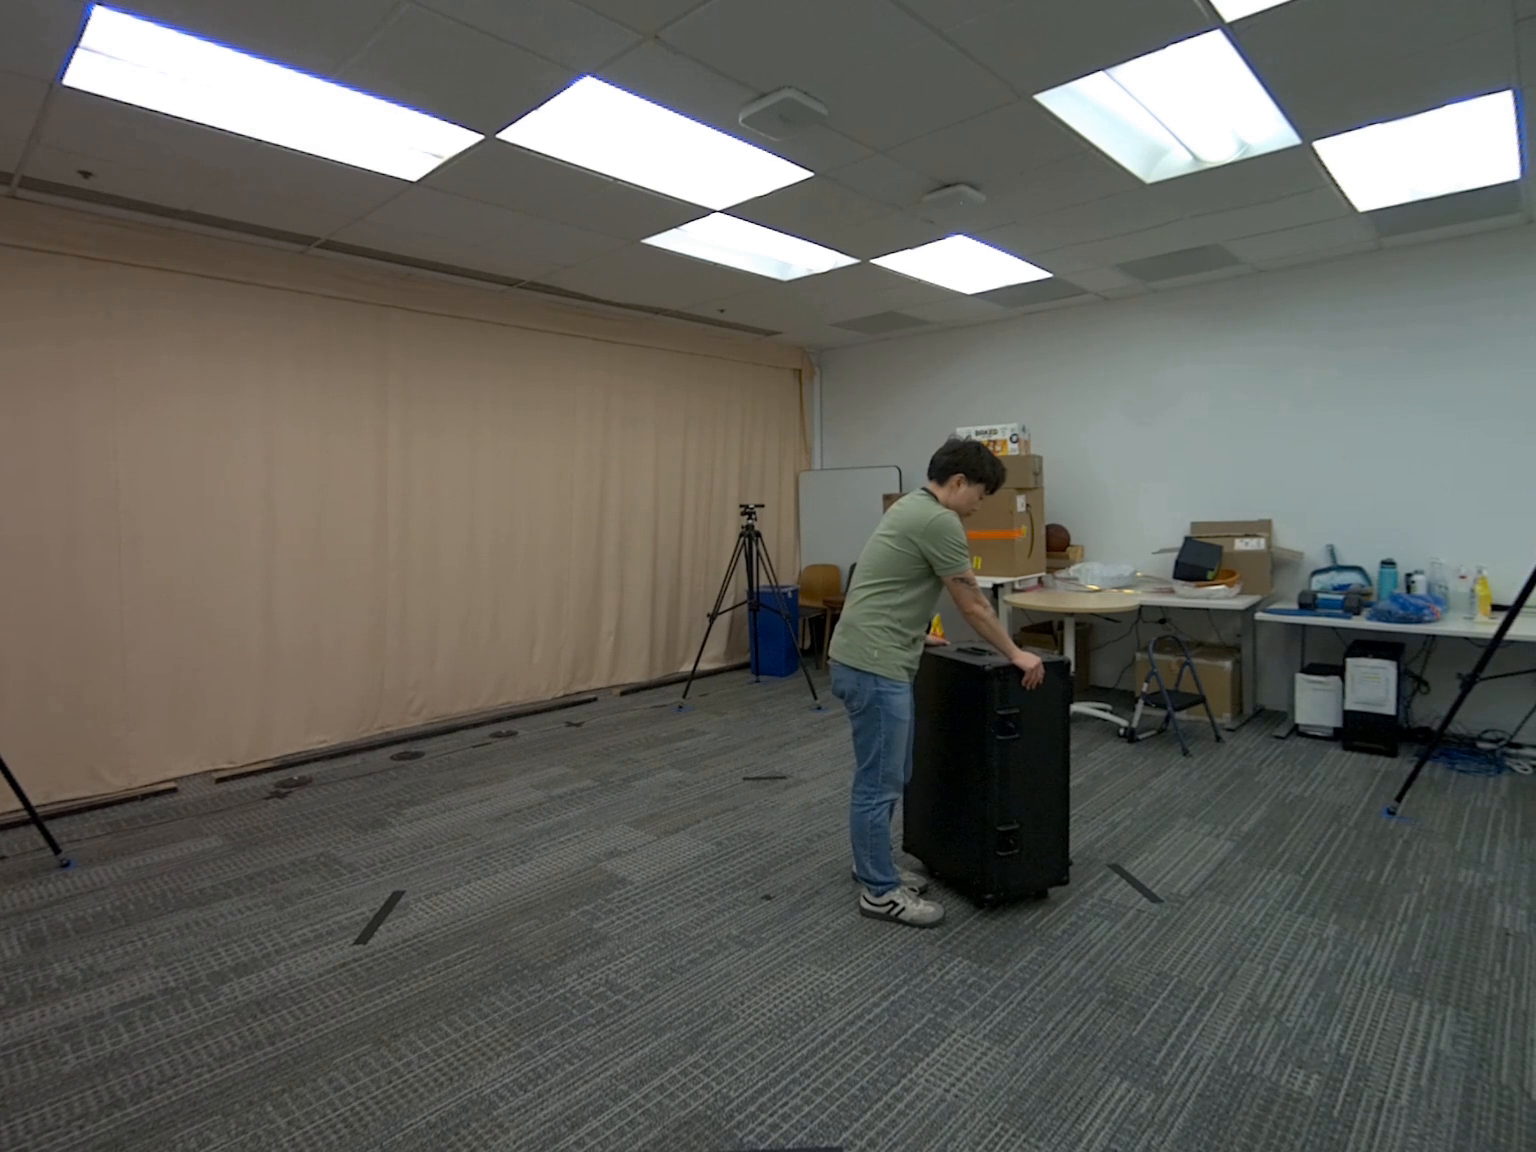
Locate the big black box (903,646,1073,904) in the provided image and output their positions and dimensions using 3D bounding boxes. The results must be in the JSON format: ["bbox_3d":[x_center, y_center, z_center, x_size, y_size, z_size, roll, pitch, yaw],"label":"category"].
[{"bbox_3d":[0.790,0.704,3.035,0.387,0.860,0.534,-1,3,-24],"label":"big black box"}]
